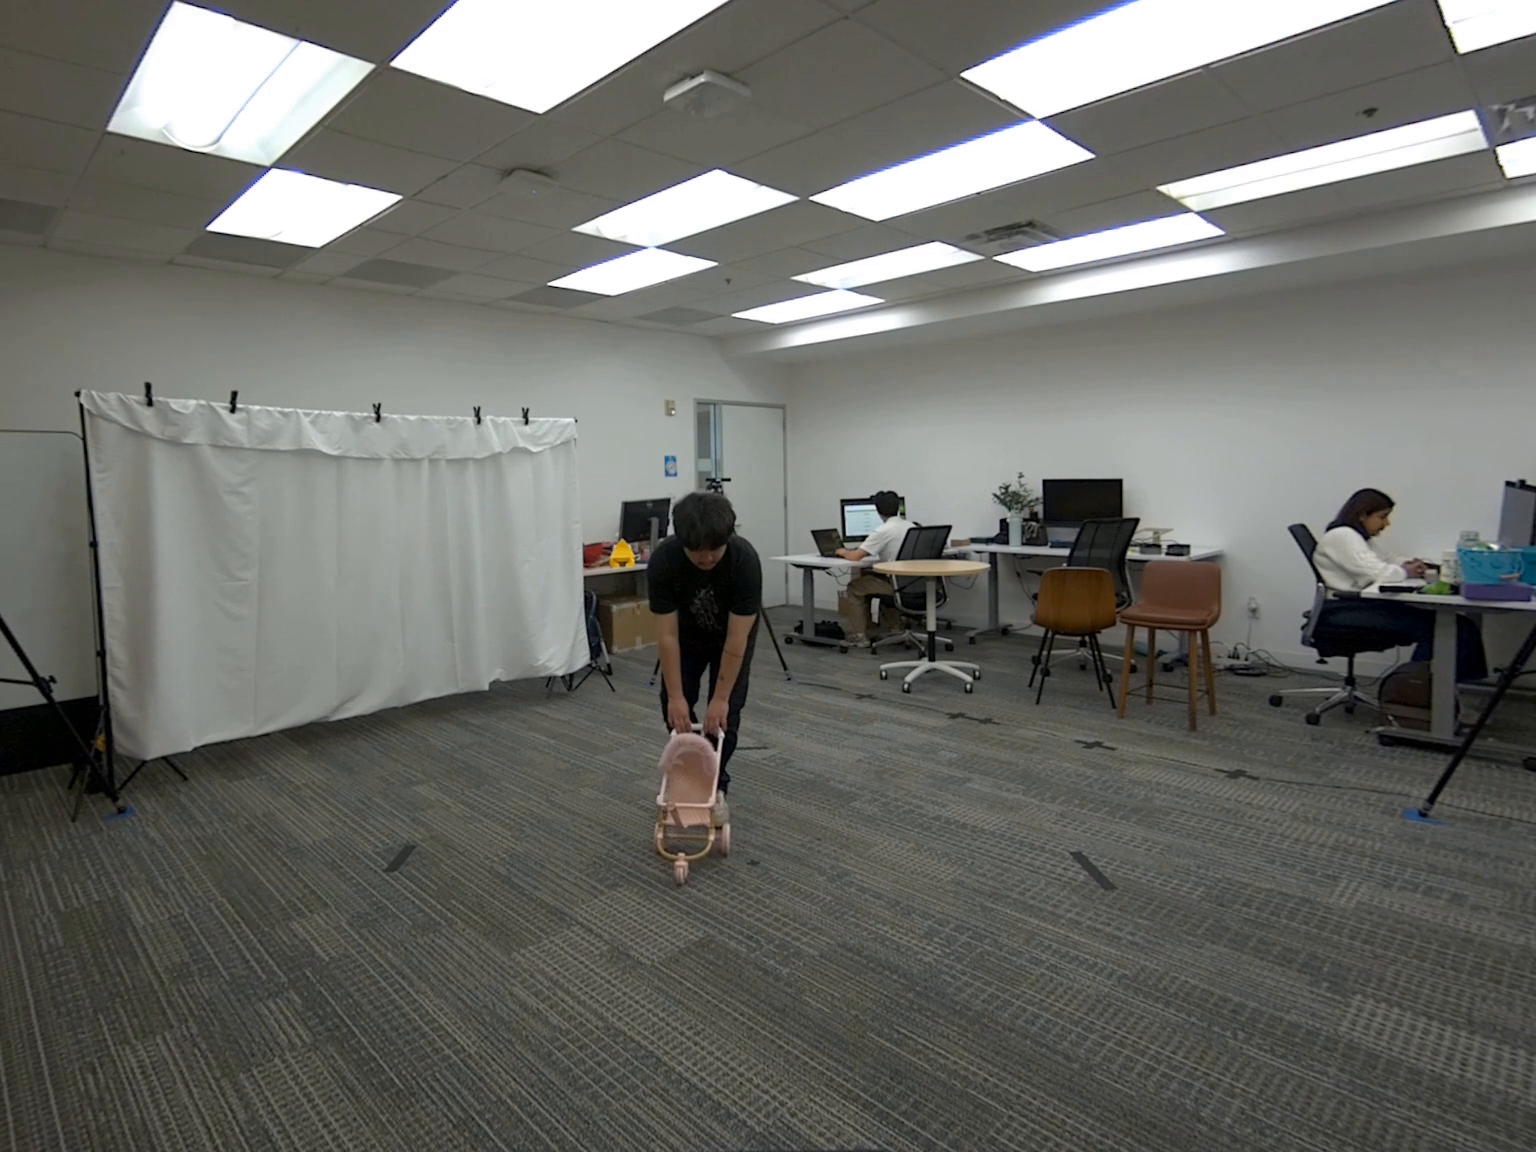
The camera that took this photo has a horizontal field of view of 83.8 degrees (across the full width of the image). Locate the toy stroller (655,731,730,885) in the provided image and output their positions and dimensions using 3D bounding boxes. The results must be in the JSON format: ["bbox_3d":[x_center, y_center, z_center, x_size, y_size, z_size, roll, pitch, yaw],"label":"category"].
[{"bbox_3d":[-0.290,0.821,3.123,0.284,0.540,0.335,-1,-10,9],"label":"toy stroller"}]
